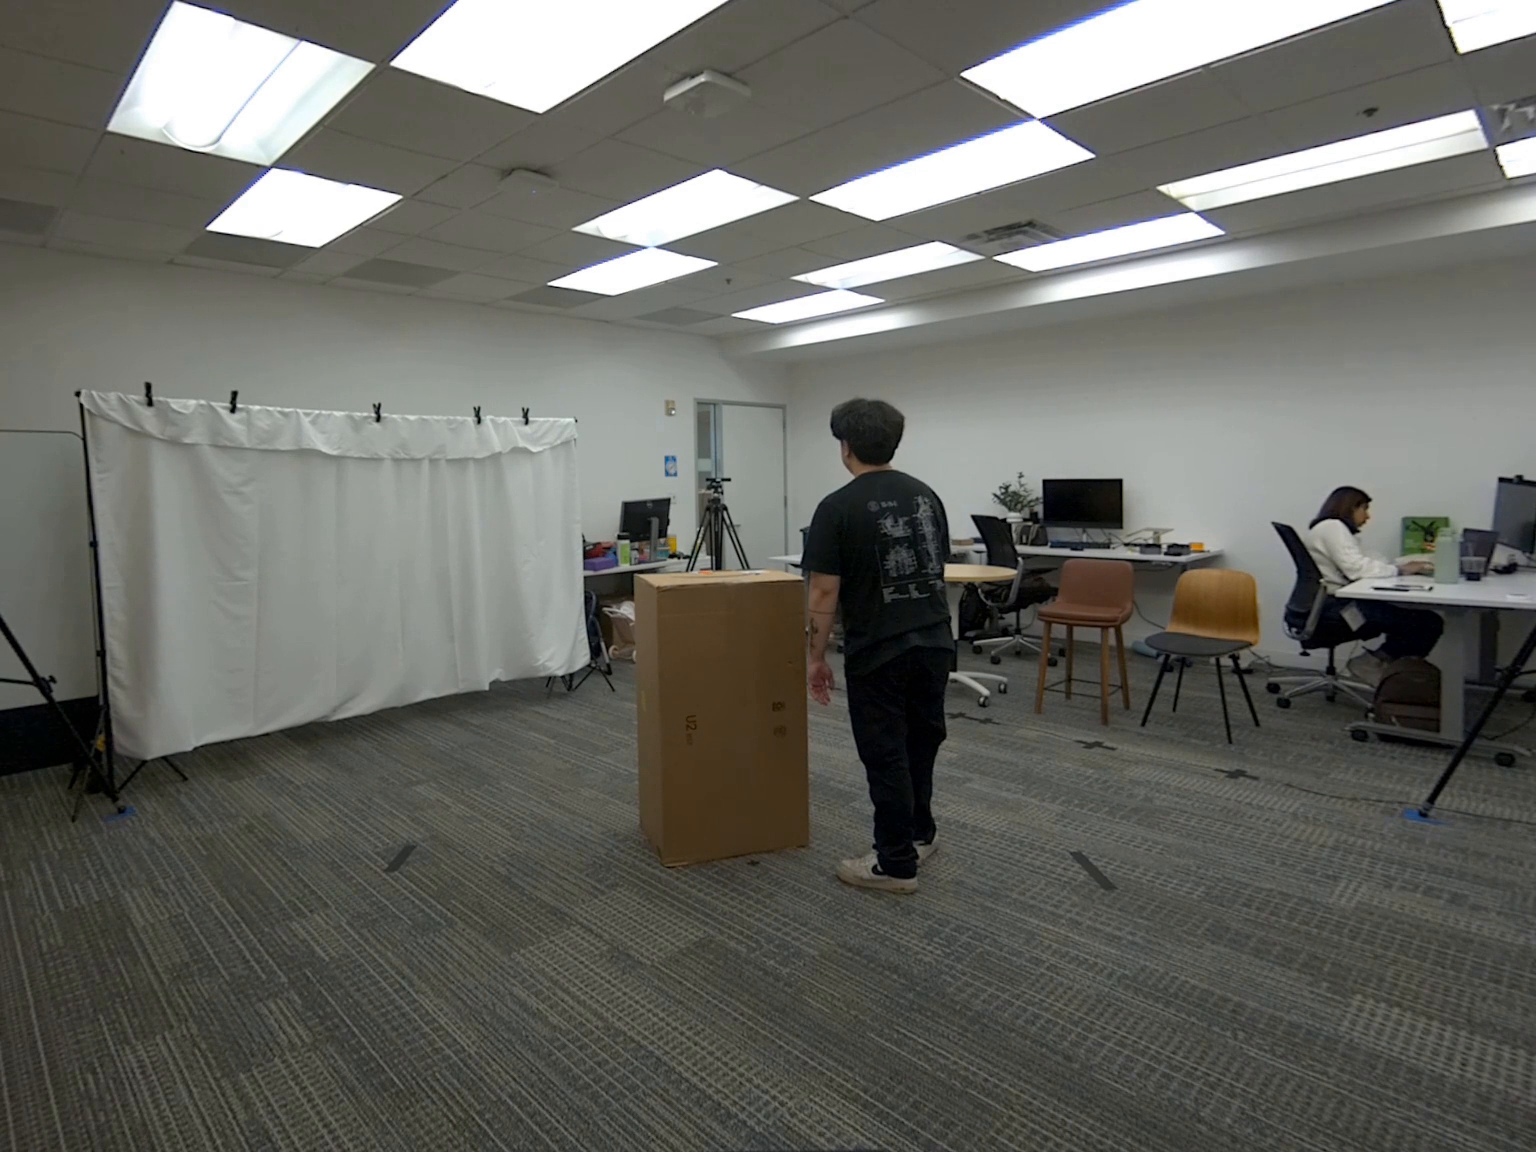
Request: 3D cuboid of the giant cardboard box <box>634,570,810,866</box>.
[{"bbox_3d":[-0.190,0.506,3.333,0.575,1.024,0.455,-2,4,-18],"label":"giant cardboard box"}]
